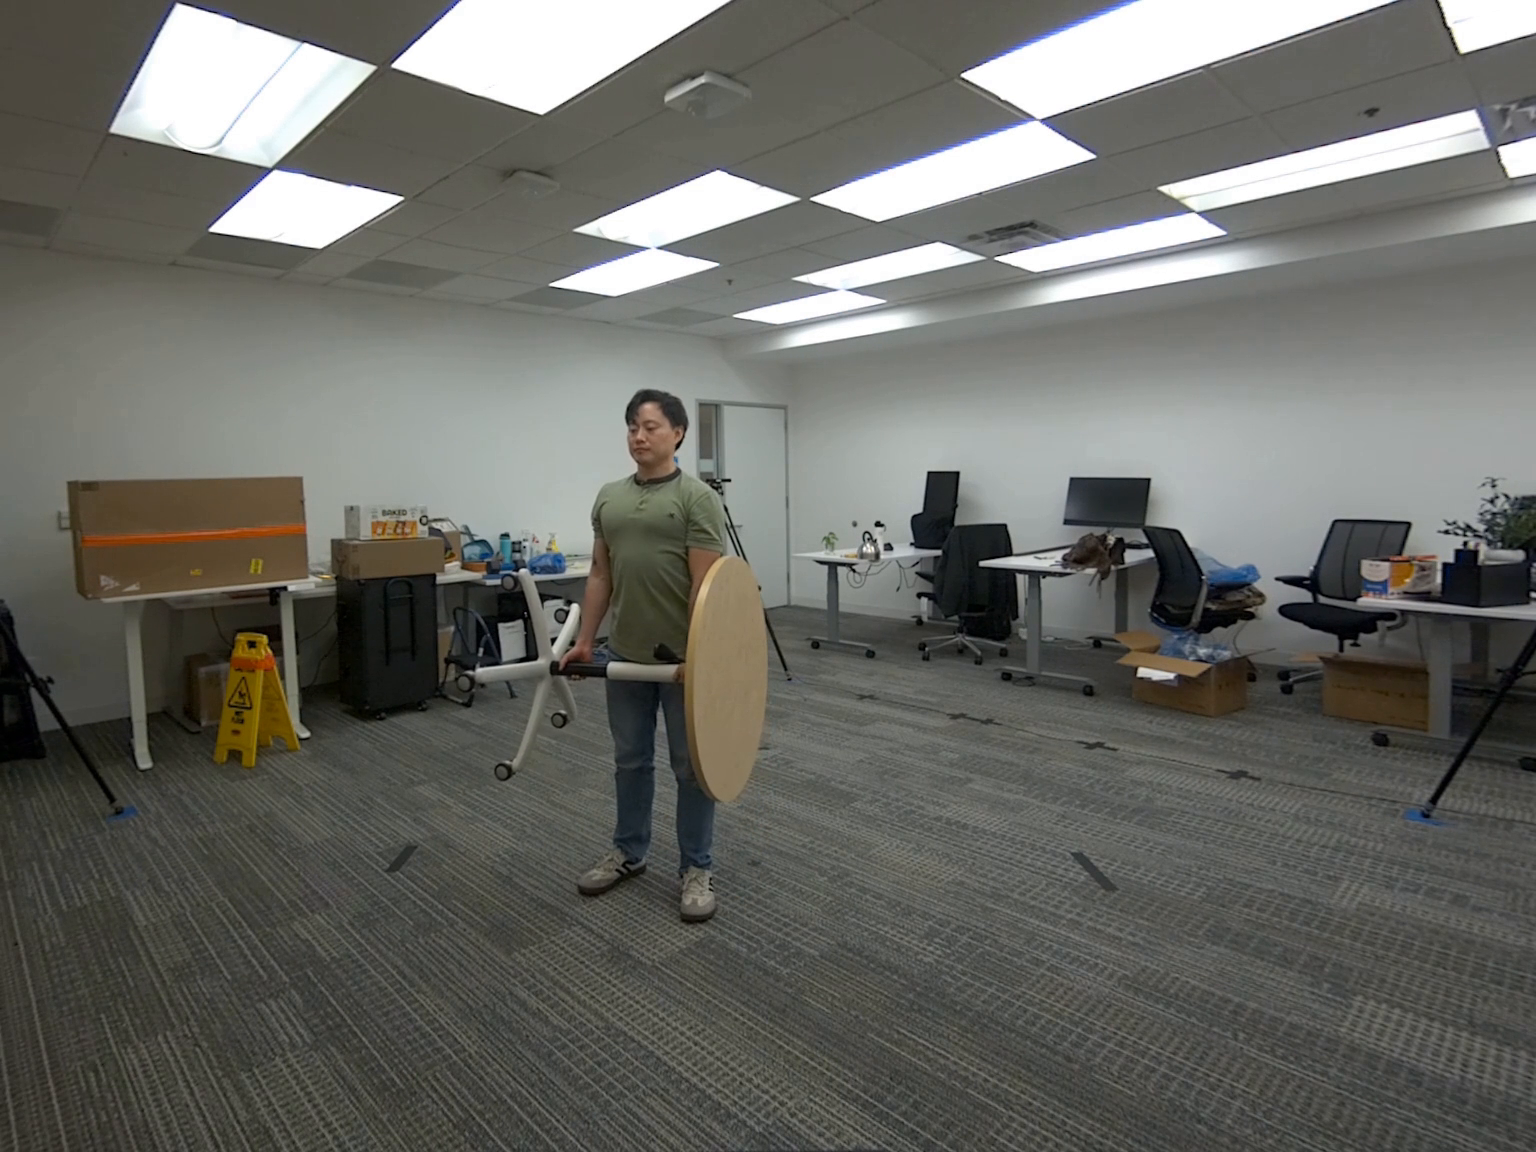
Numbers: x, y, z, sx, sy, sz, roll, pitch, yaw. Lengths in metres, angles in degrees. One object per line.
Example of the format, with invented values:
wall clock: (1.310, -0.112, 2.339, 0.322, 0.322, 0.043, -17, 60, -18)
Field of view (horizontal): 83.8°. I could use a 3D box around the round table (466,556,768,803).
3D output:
round table: (-0.488, 0.323, 2.835, 0.807, 0.761, 0.754, -1, 5, 17)
